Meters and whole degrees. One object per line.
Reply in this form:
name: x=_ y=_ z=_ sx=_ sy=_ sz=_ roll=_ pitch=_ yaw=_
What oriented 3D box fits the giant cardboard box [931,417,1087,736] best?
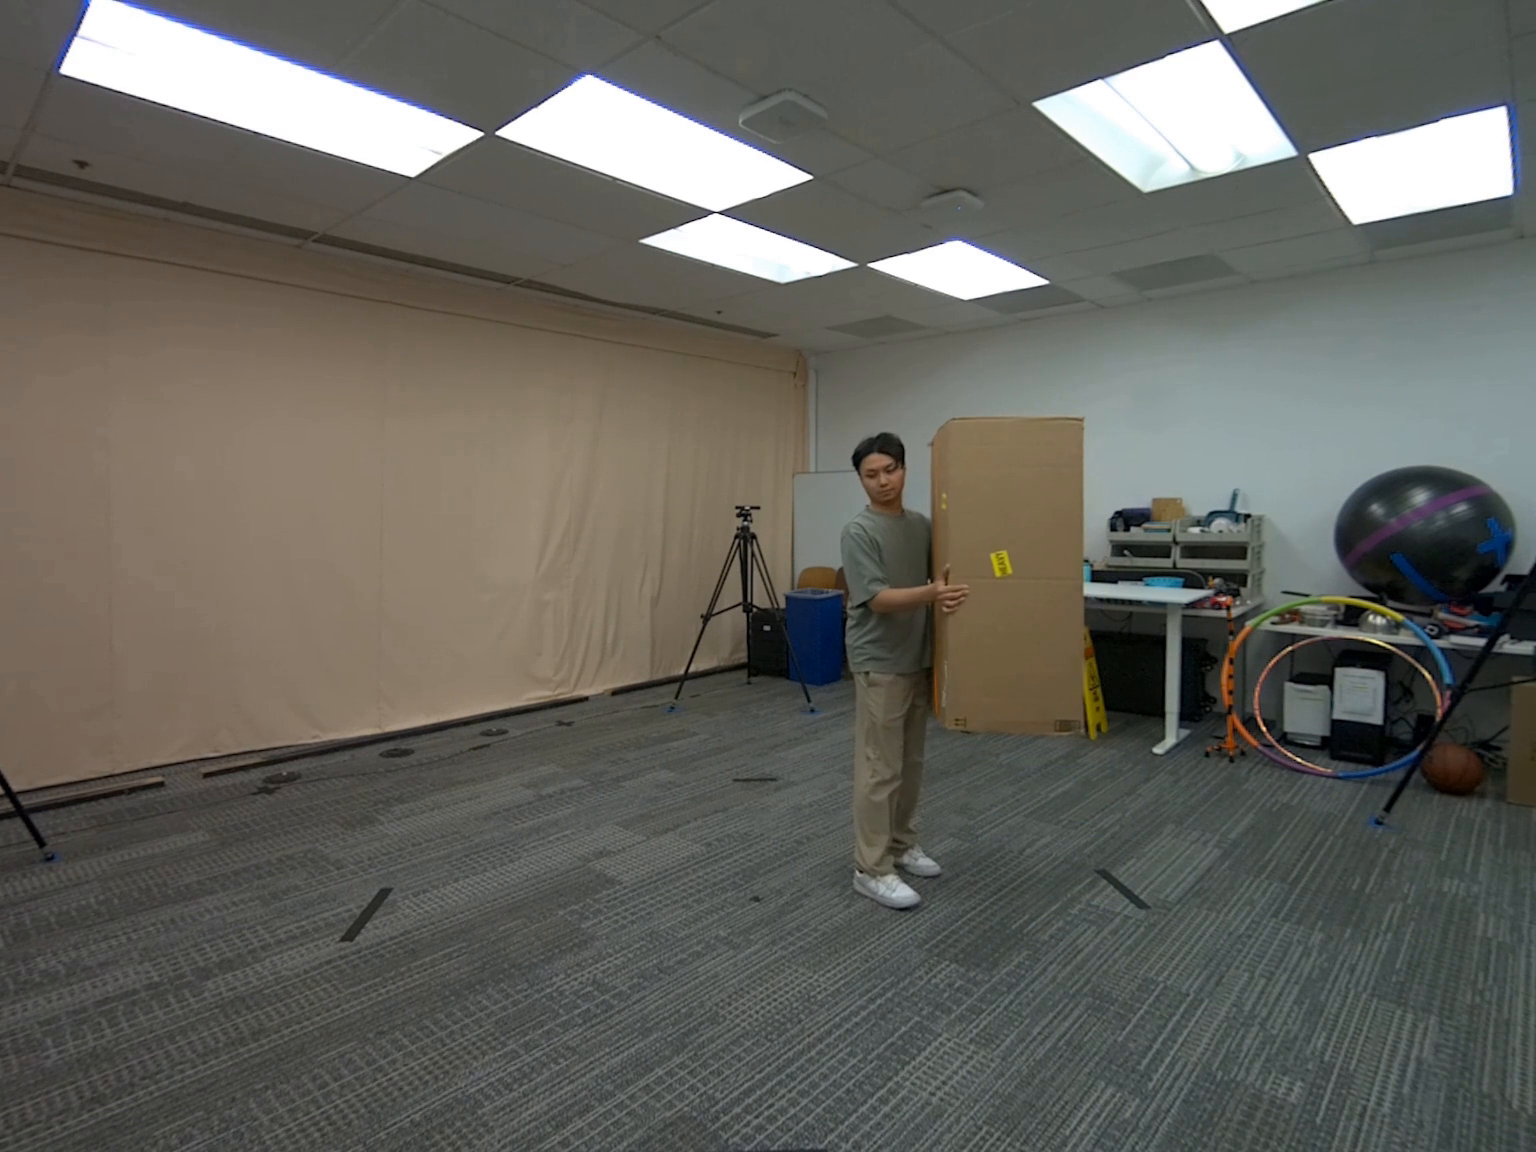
giant cardboard box: x=0.829 y=-0.008 z=2.992 sx=0.430 sy=1.026 sz=0.572 roll=0 pitch=-1 yaw=6
